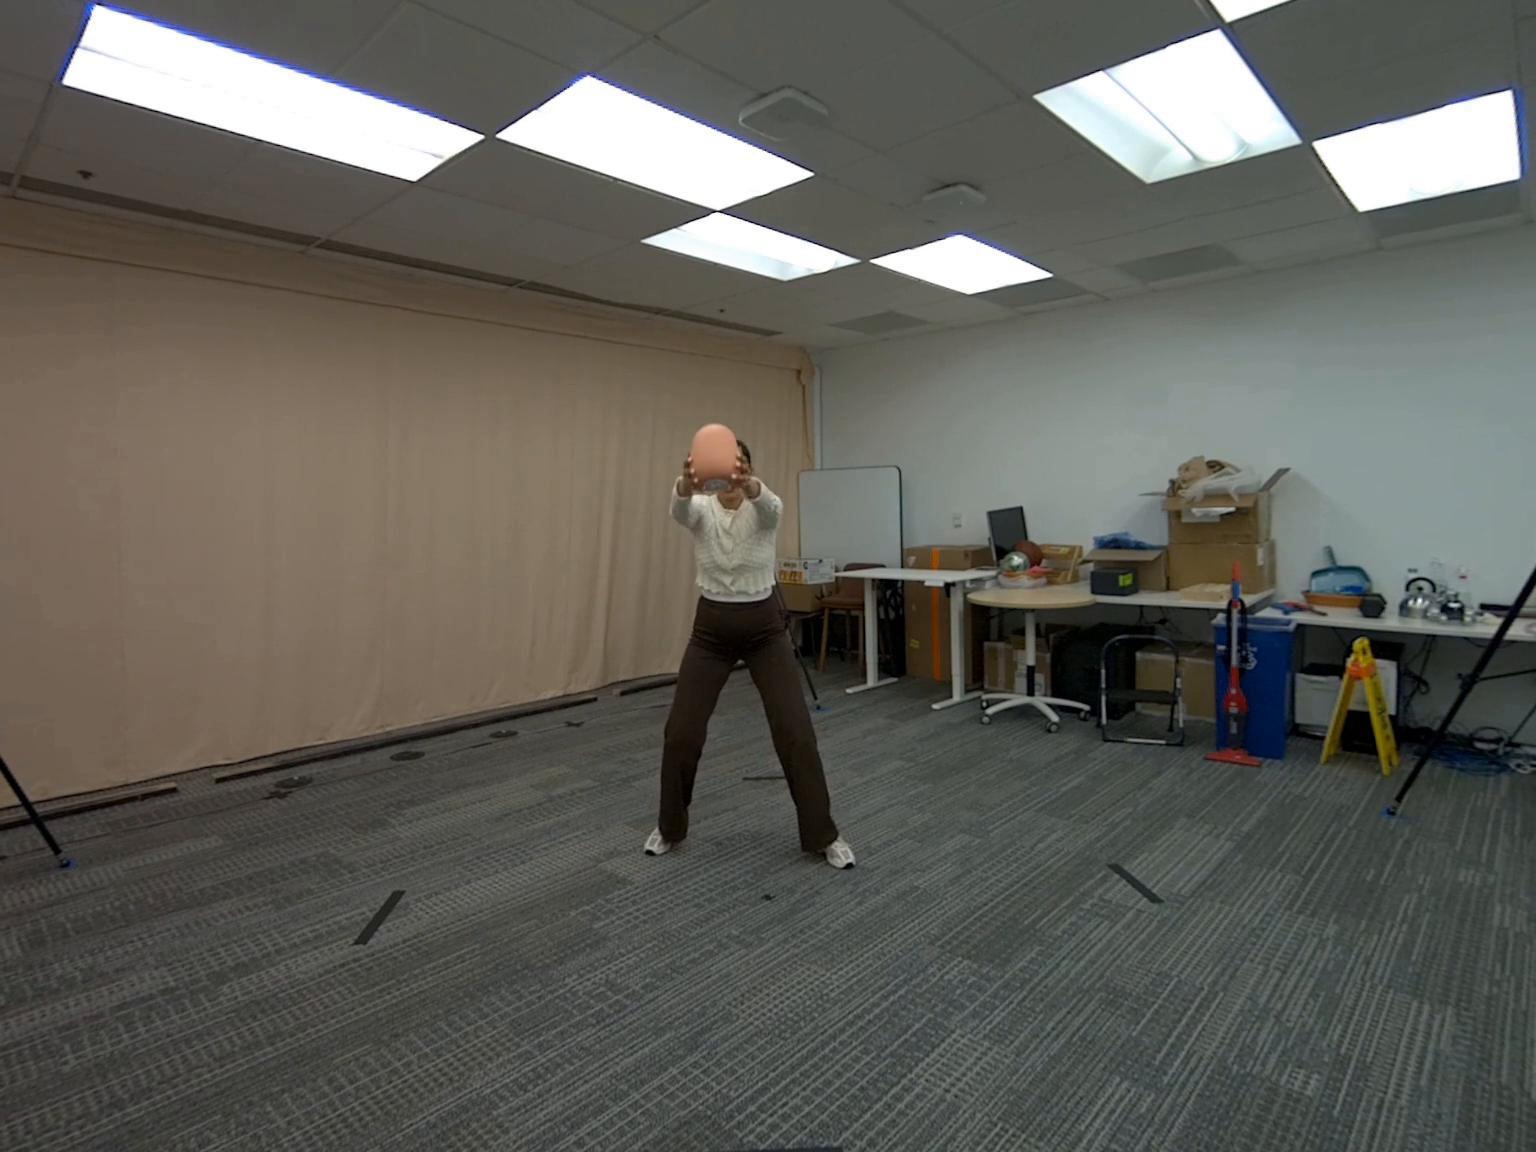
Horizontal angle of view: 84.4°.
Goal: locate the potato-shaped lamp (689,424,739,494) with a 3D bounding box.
[{"bbox_3d":[-0.166,-0.359,2.659,0.166,0.201,0.167,-11,-19,11],"label":"potato-shaped lamp"}]
